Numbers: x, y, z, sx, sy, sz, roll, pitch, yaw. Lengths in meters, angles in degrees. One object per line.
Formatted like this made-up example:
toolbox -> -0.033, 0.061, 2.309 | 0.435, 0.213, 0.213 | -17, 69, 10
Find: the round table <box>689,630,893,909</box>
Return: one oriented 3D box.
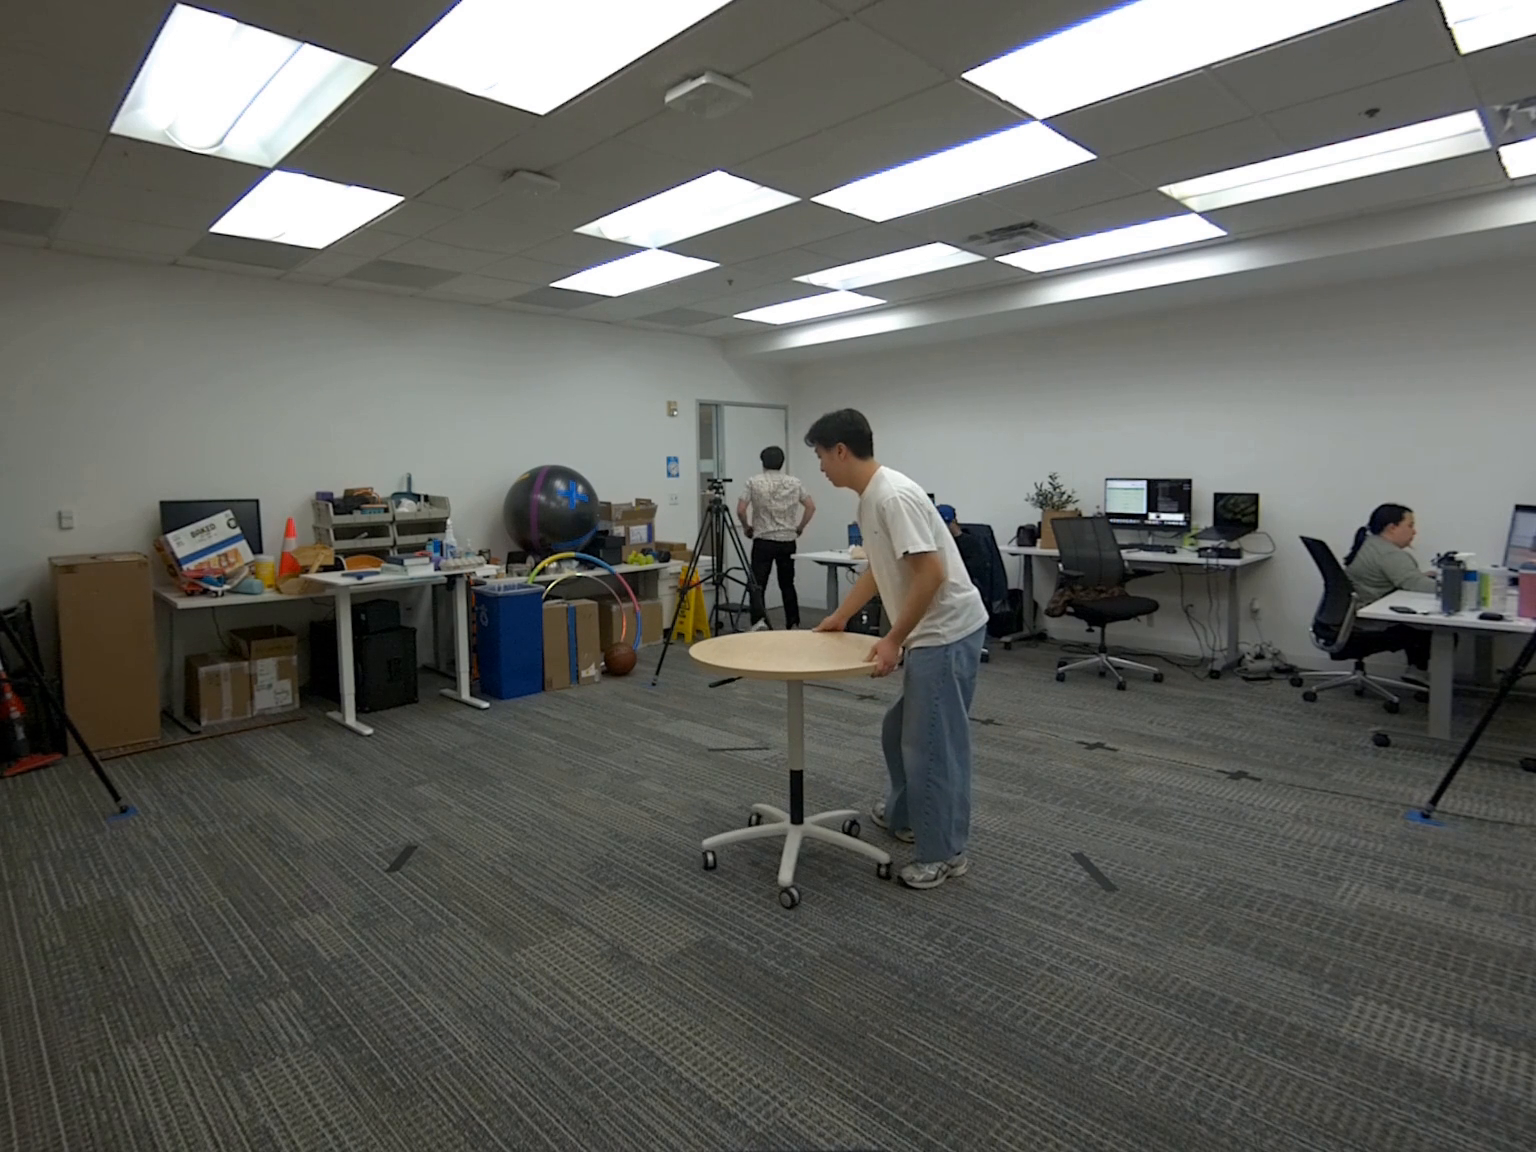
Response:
round table -> 0.096, 0.646, 3.121 | 0.784, 0.783, 0.789 | 0, 5, -2
